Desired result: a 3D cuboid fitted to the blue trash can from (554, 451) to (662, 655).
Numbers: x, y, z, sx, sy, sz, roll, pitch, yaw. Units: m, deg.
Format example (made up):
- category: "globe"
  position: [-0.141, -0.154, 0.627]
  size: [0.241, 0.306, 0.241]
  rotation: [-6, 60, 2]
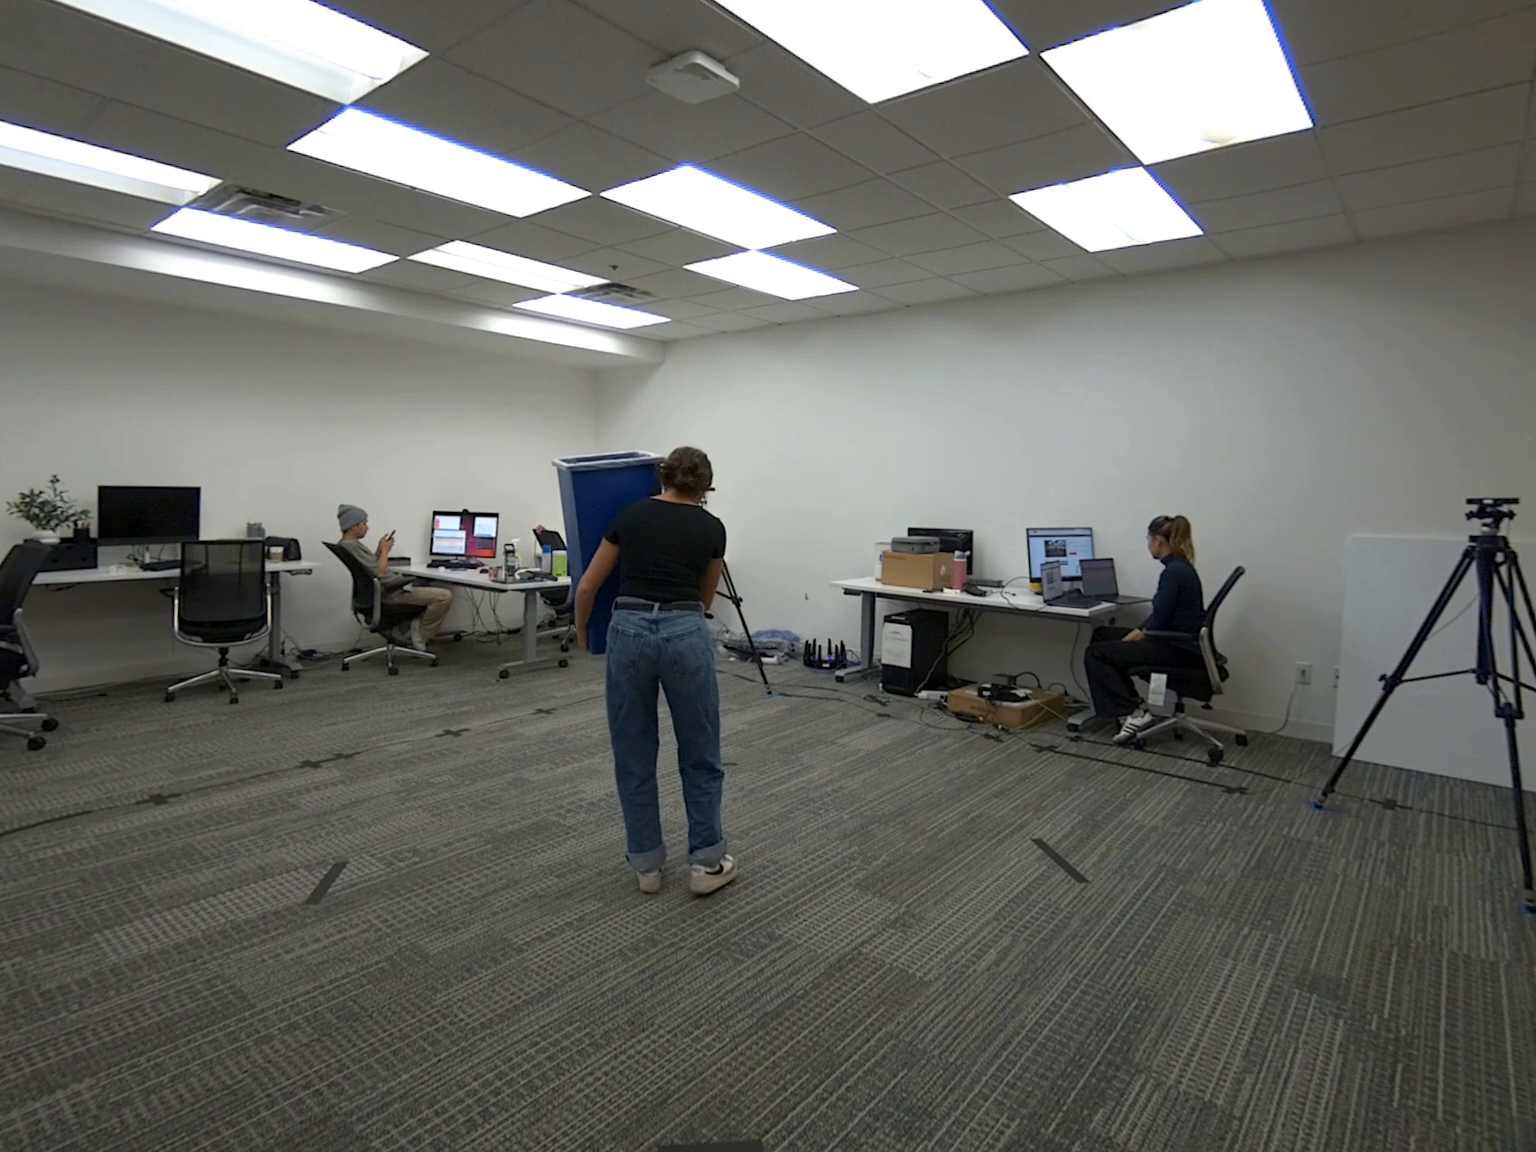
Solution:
- category: "blue trash can"
  position: [-0.606, -0.103, 3.264]
  size: [0.367, 0.707, 0.389]
  rotation: [-6, 10, -21]
